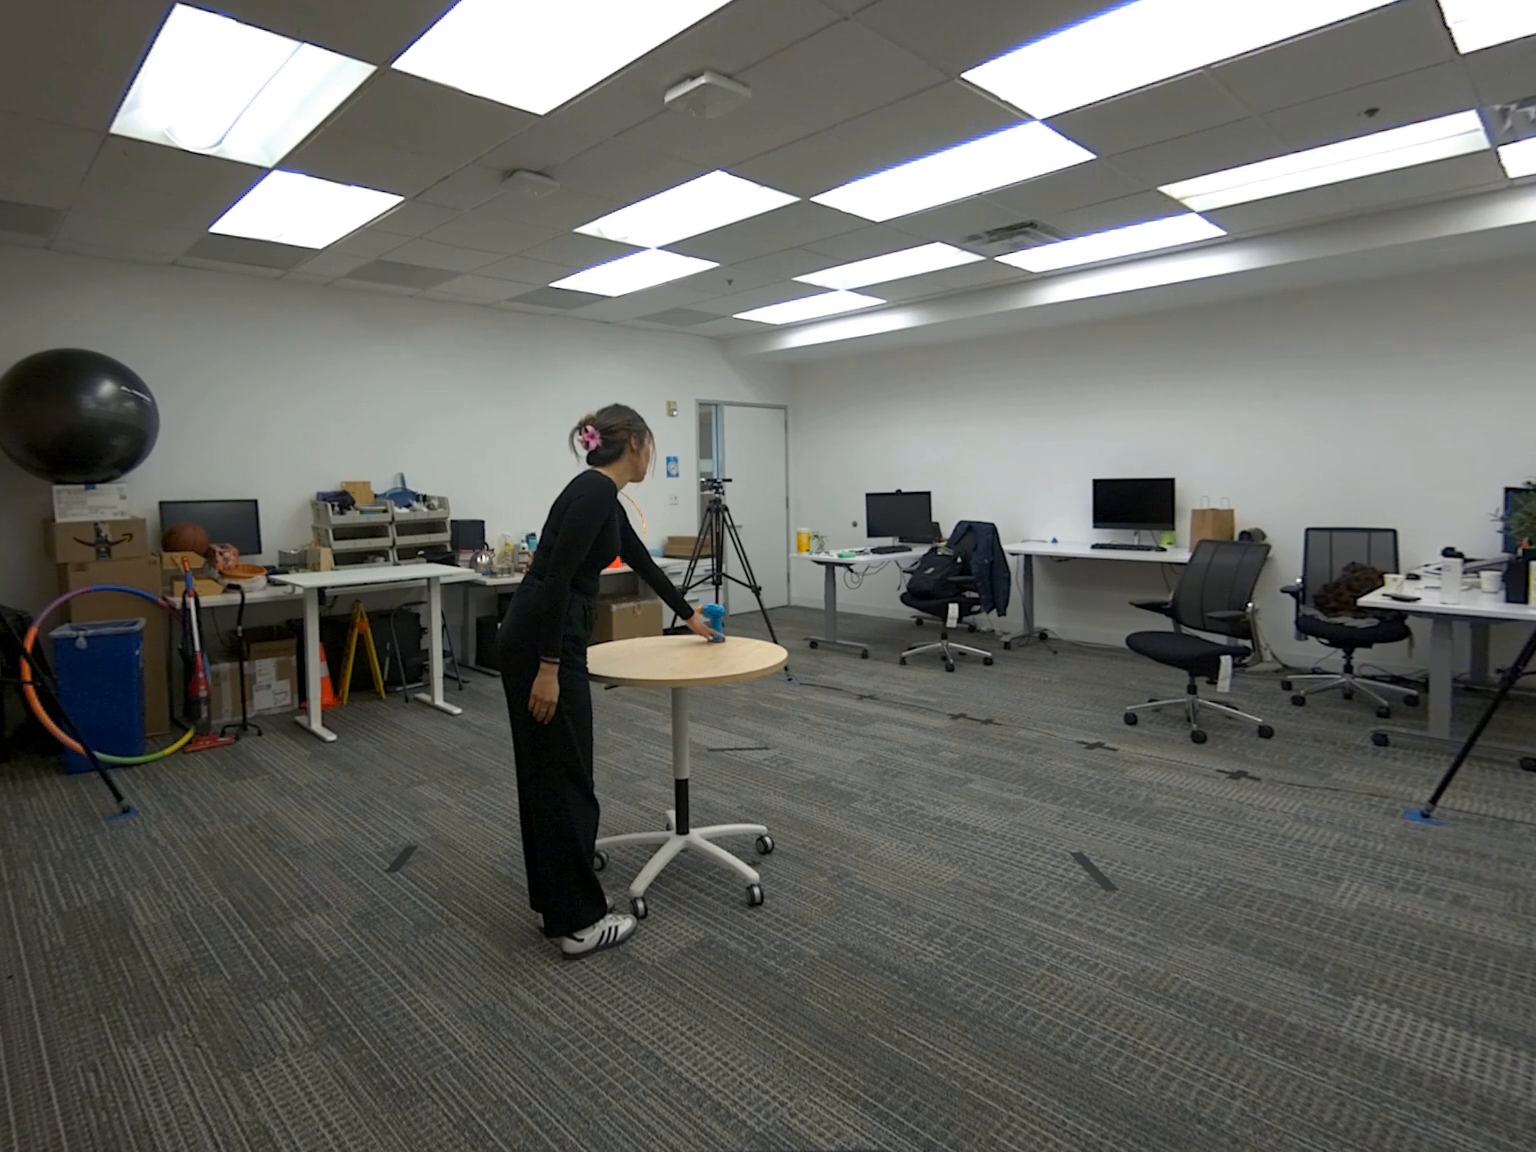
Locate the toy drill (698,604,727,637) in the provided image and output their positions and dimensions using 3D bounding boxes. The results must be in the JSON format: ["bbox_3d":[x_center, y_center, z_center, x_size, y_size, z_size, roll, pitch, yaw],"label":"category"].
[{"bbox_3d":[-0.233,0.176,3.263,0.174,0.146,0.059,0,3,36],"label":"toy drill"}]
